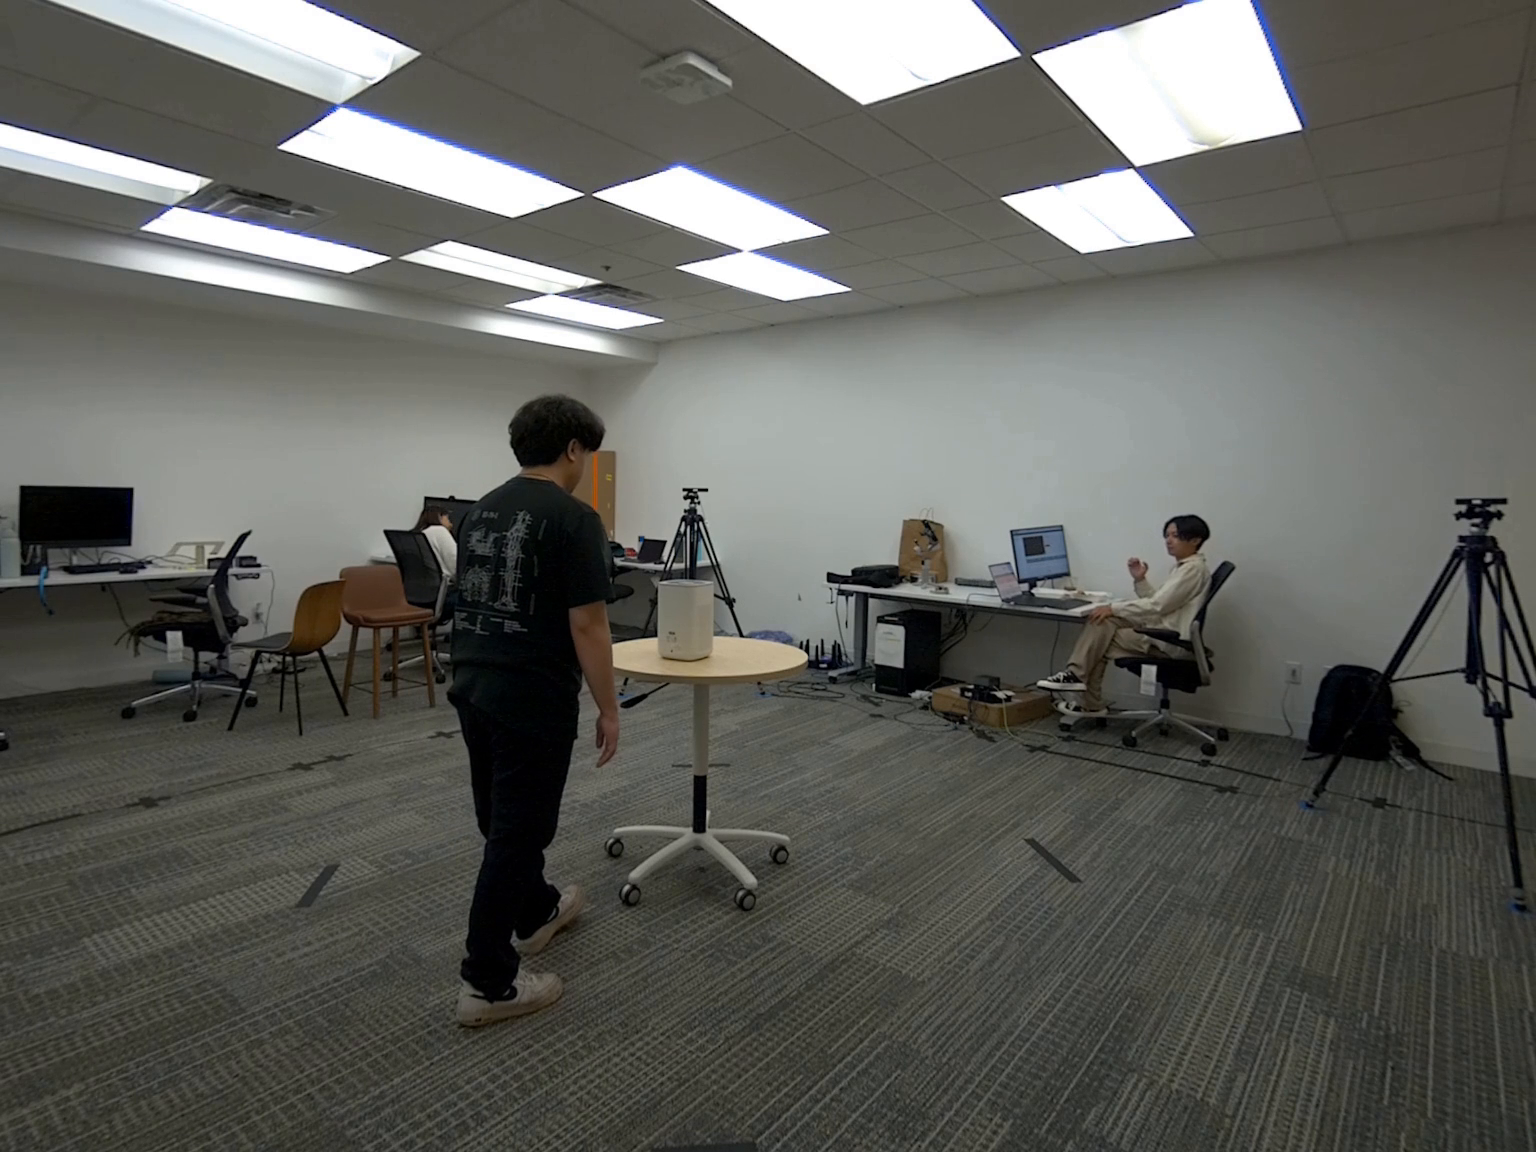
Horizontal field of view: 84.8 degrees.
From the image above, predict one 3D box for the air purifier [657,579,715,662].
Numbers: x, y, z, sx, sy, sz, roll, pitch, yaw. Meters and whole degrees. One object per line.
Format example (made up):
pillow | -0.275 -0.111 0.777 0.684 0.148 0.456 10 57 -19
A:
air purifier | -0.300 0.149 3.008 0.176 0.265 0.167 3 4 27
